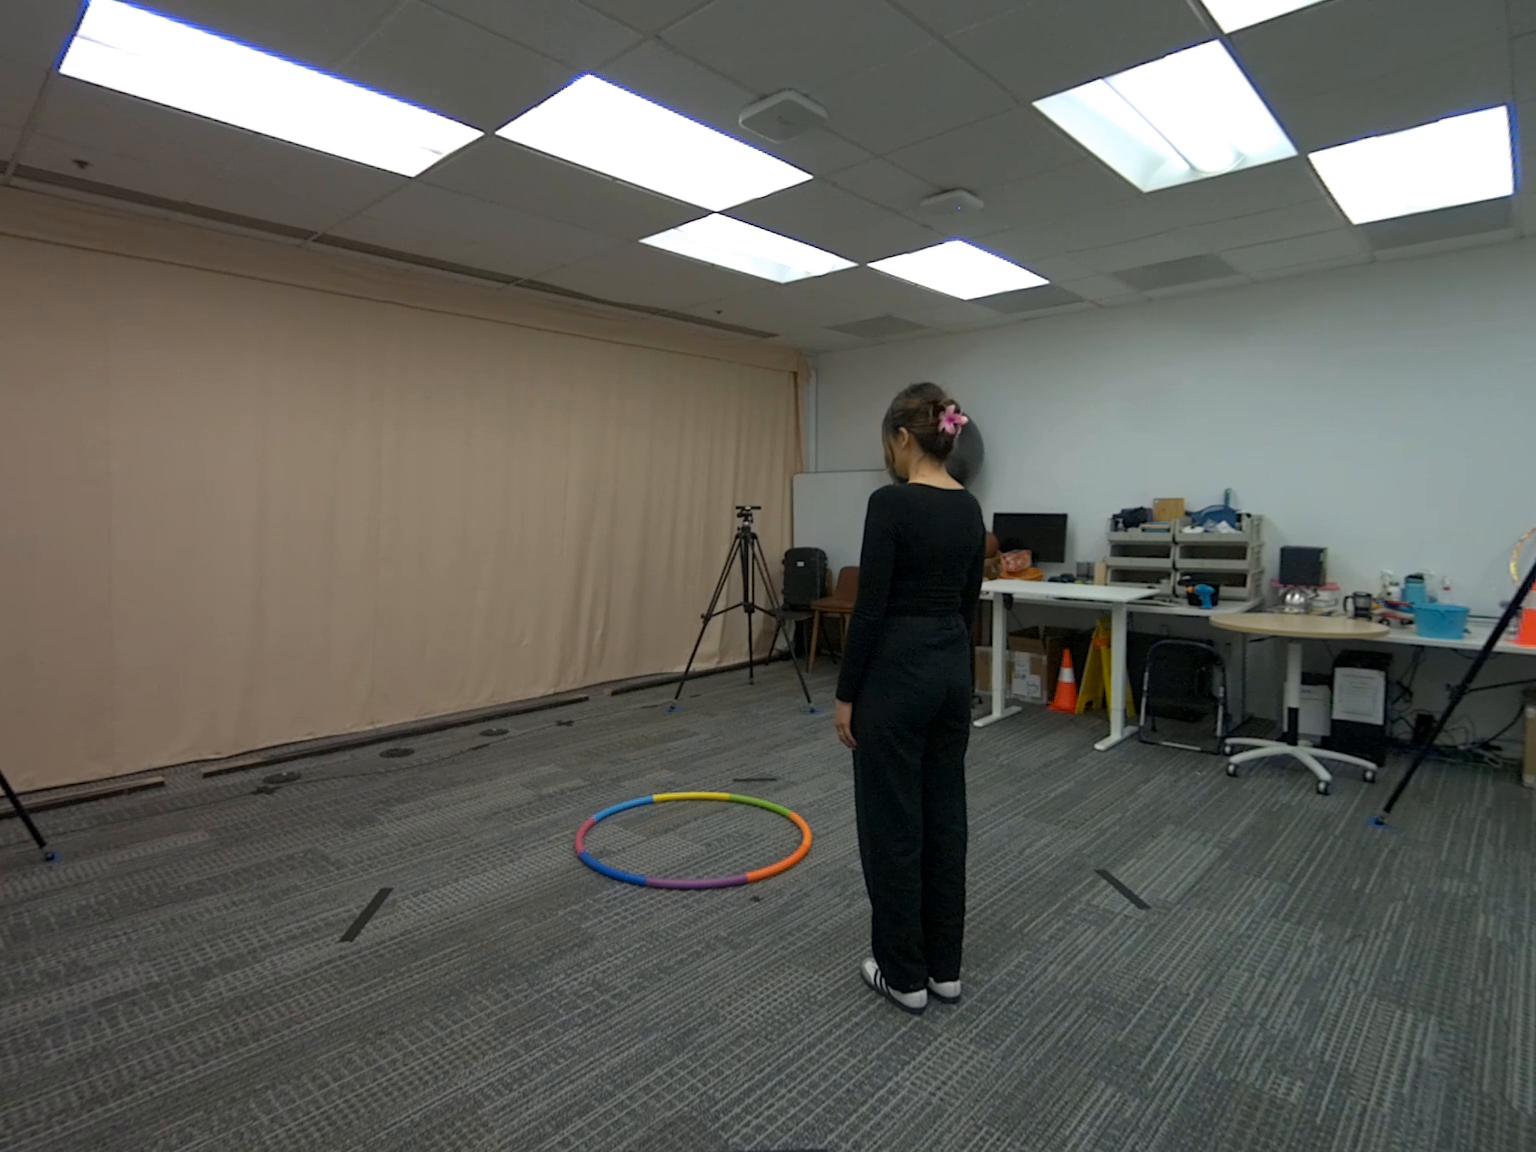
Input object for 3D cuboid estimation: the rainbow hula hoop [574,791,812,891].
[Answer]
[{"bbox_3d":[-0.311,1.070,3.533,0.978,0.035,0.982,-1,5,-2],"label":"rainbow hula hoop"}]
